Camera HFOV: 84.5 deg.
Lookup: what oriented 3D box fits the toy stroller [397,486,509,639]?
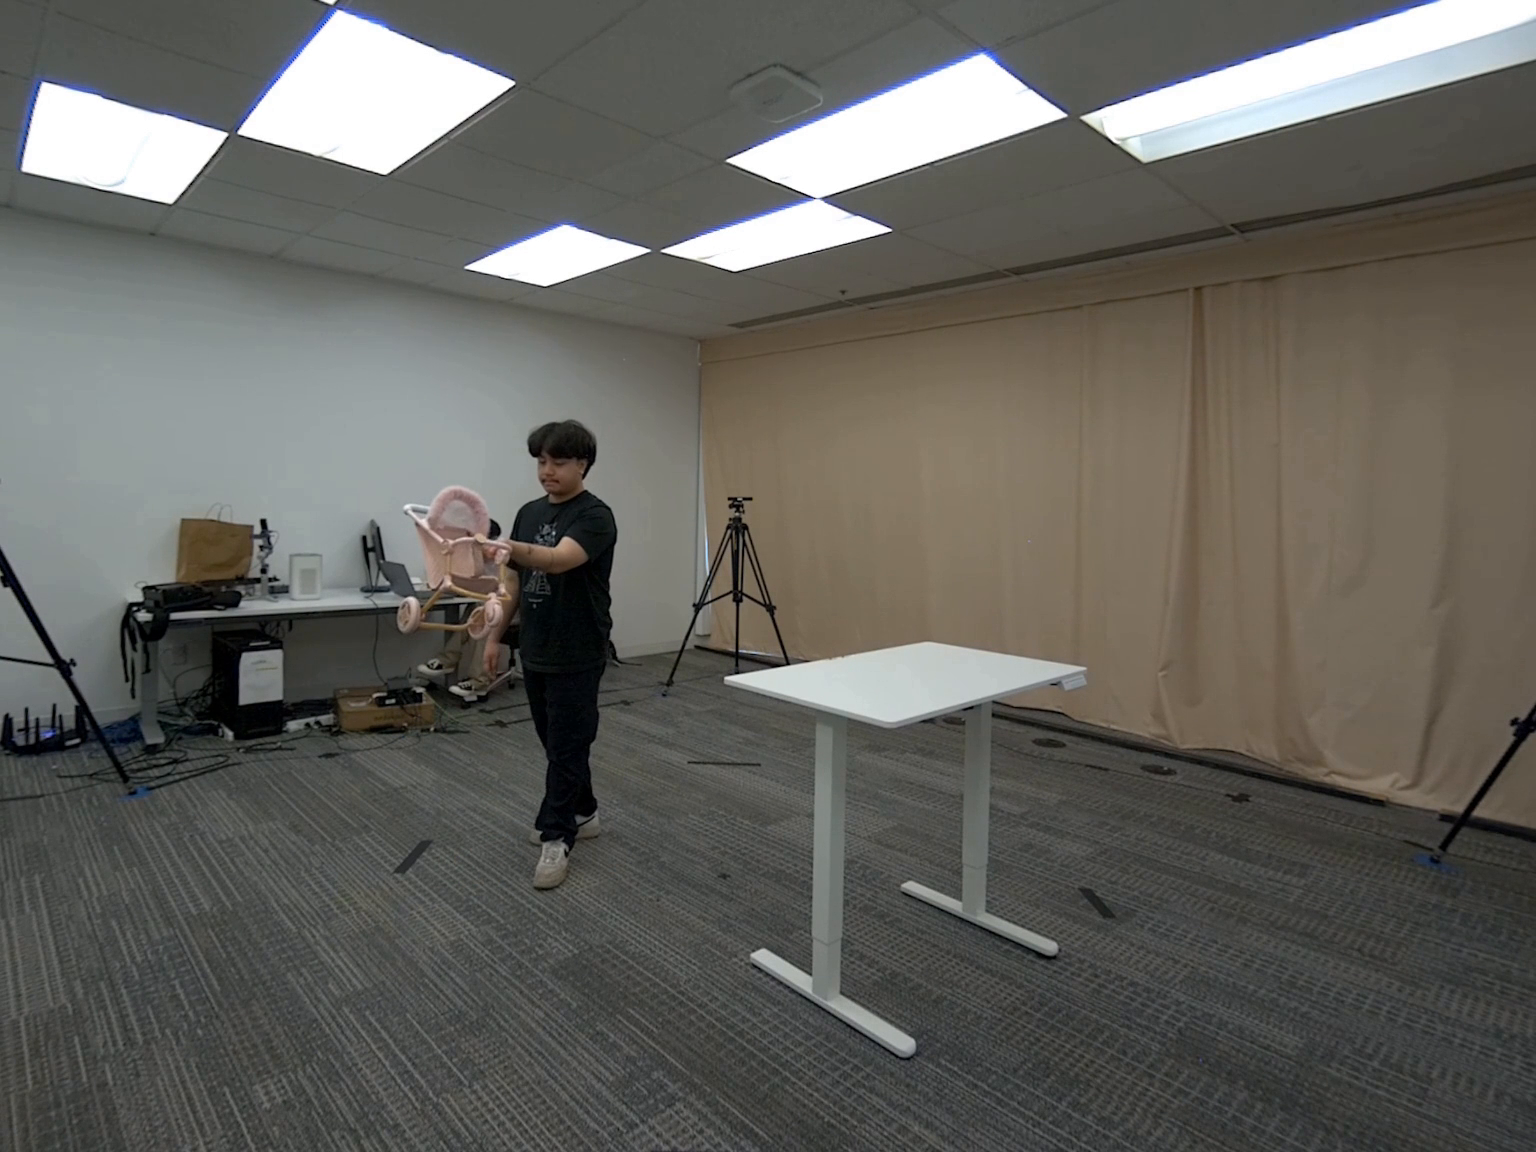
[{"bbox_3d":[-0.956,-0.045,2.578,0.344,0.546,0.273,-31,-29,35],"label":"toy stroller"}]
